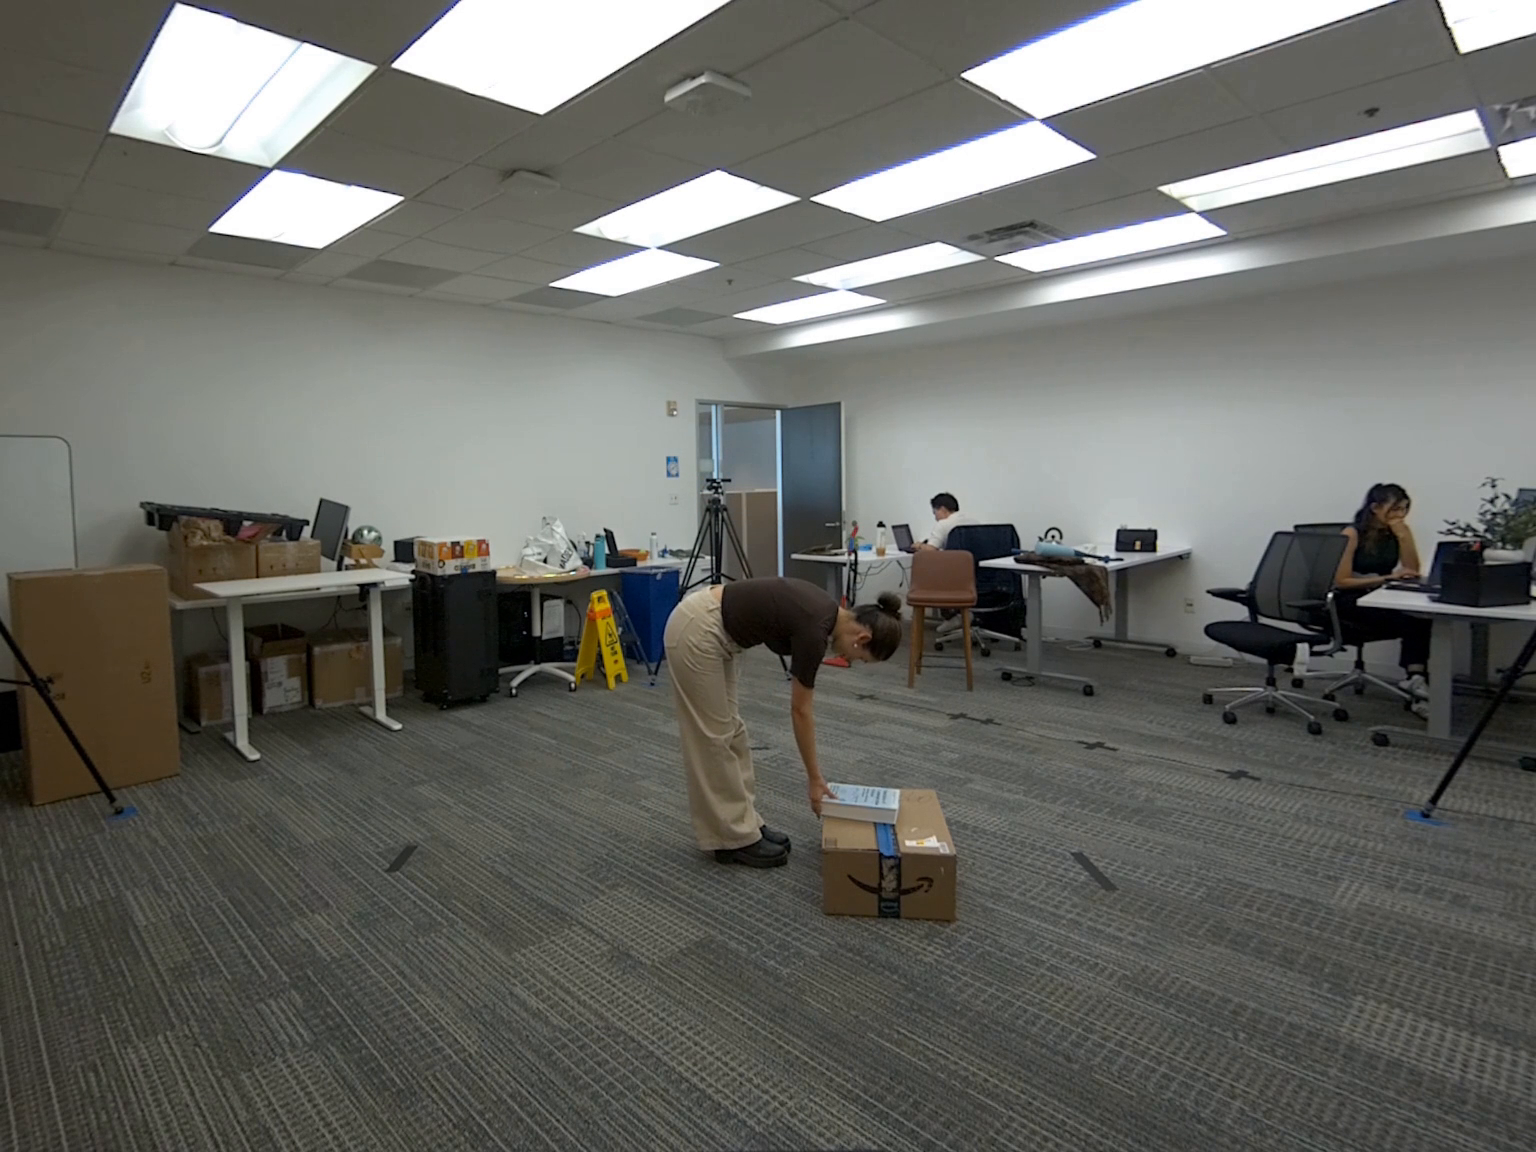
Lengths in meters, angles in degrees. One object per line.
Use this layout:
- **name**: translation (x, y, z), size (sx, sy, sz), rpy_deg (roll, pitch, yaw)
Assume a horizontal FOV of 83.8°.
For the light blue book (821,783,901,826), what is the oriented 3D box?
- **light blue book**: translation (0.329, 0.796, 3.033), size (0.265, 0.059, 0.189), rpy_deg (2, 7, 14)
